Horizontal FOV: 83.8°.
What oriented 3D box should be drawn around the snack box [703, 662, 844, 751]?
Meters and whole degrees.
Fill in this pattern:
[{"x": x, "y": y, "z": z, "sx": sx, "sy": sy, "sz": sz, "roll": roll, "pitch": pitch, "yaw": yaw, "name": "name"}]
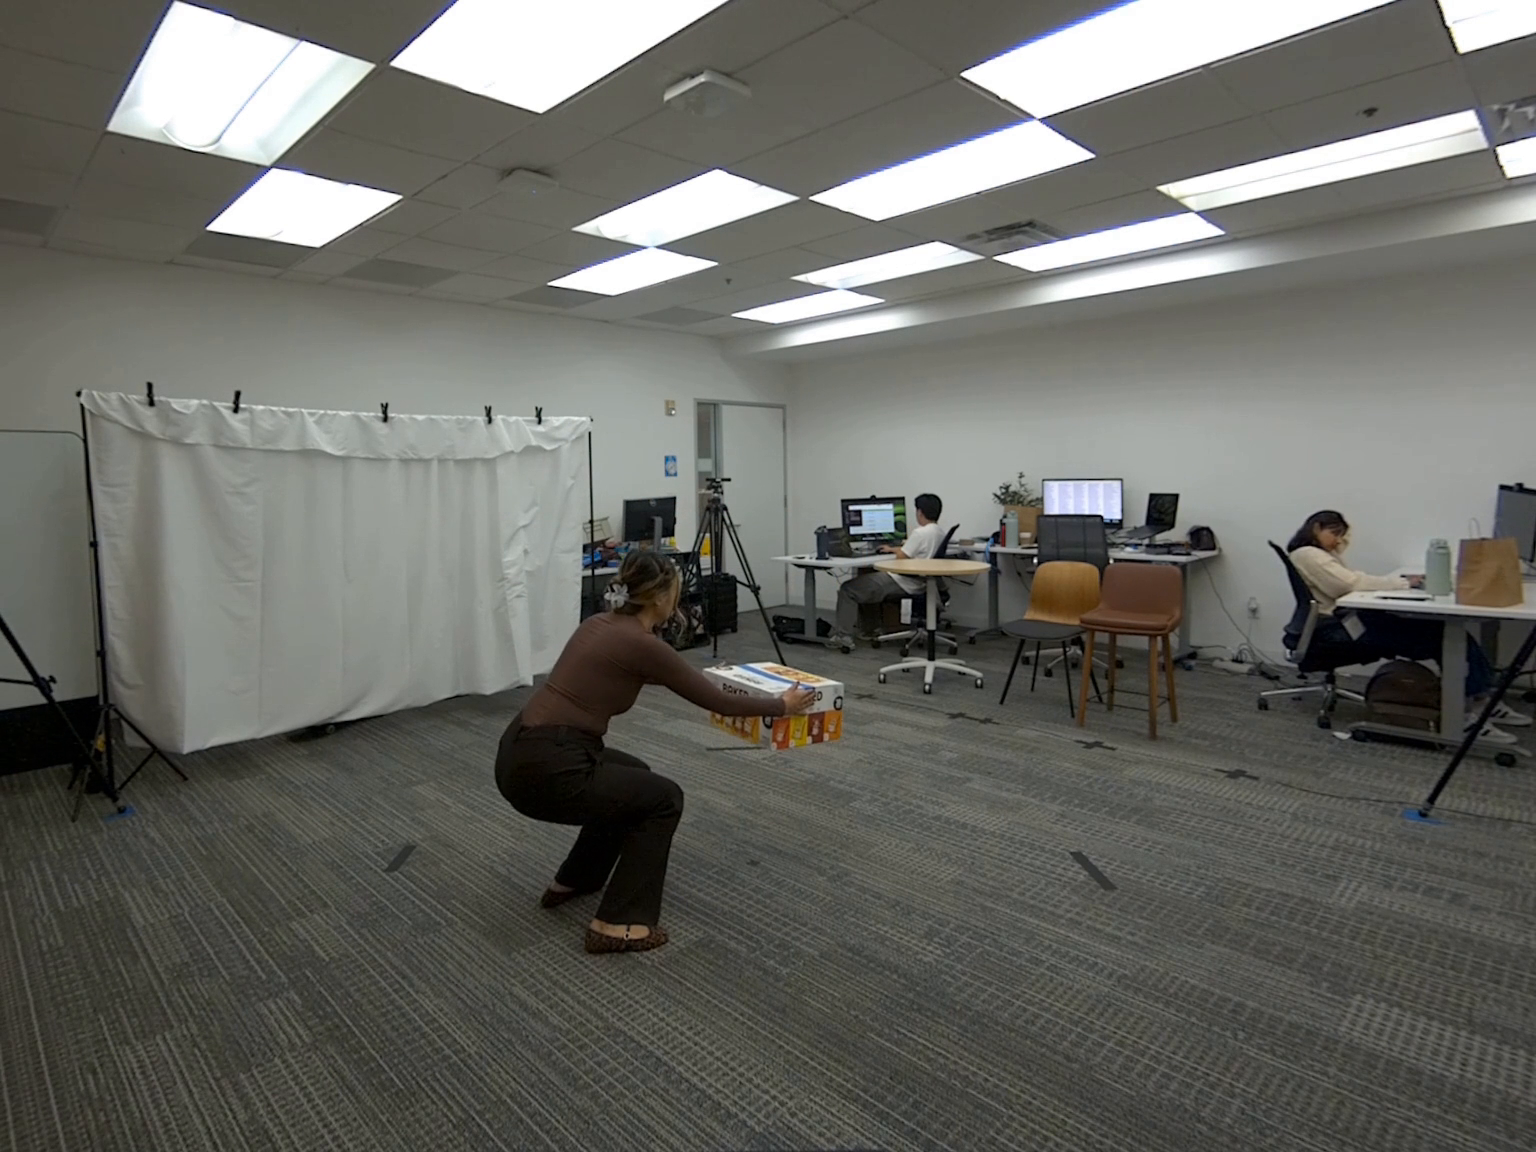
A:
[{"x": 0.007, "y": 0.465, "z": 3.151, "sx": 0.331, "sy": 0.205, "sz": 0.418, "roll": -1, "pitch": 6, "yaw": -40, "name": "snack box"}]
